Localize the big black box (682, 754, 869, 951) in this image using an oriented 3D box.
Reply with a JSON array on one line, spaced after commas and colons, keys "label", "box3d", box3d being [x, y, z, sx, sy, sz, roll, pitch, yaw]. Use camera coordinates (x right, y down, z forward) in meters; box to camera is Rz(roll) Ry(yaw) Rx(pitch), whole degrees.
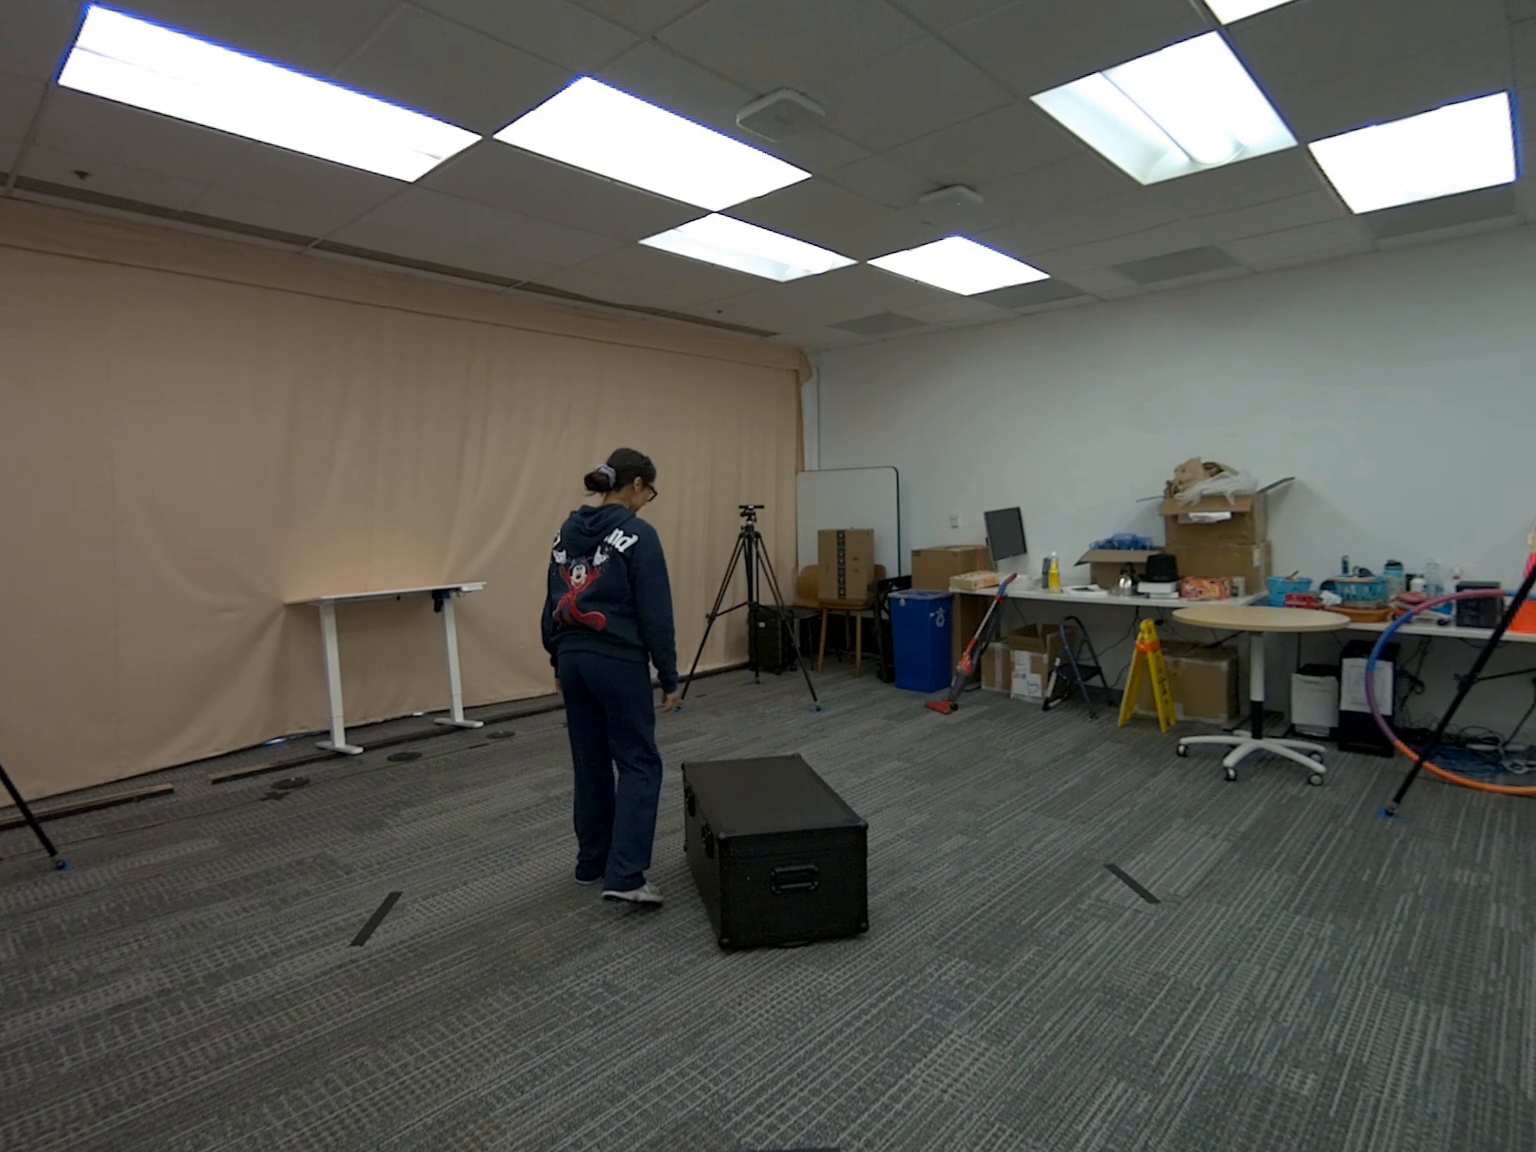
[{"label": "big black box", "box3d": [-0.013, 0.944, 3.045, 0.514, 0.395, 0.875, -2, 5, -13]}]
